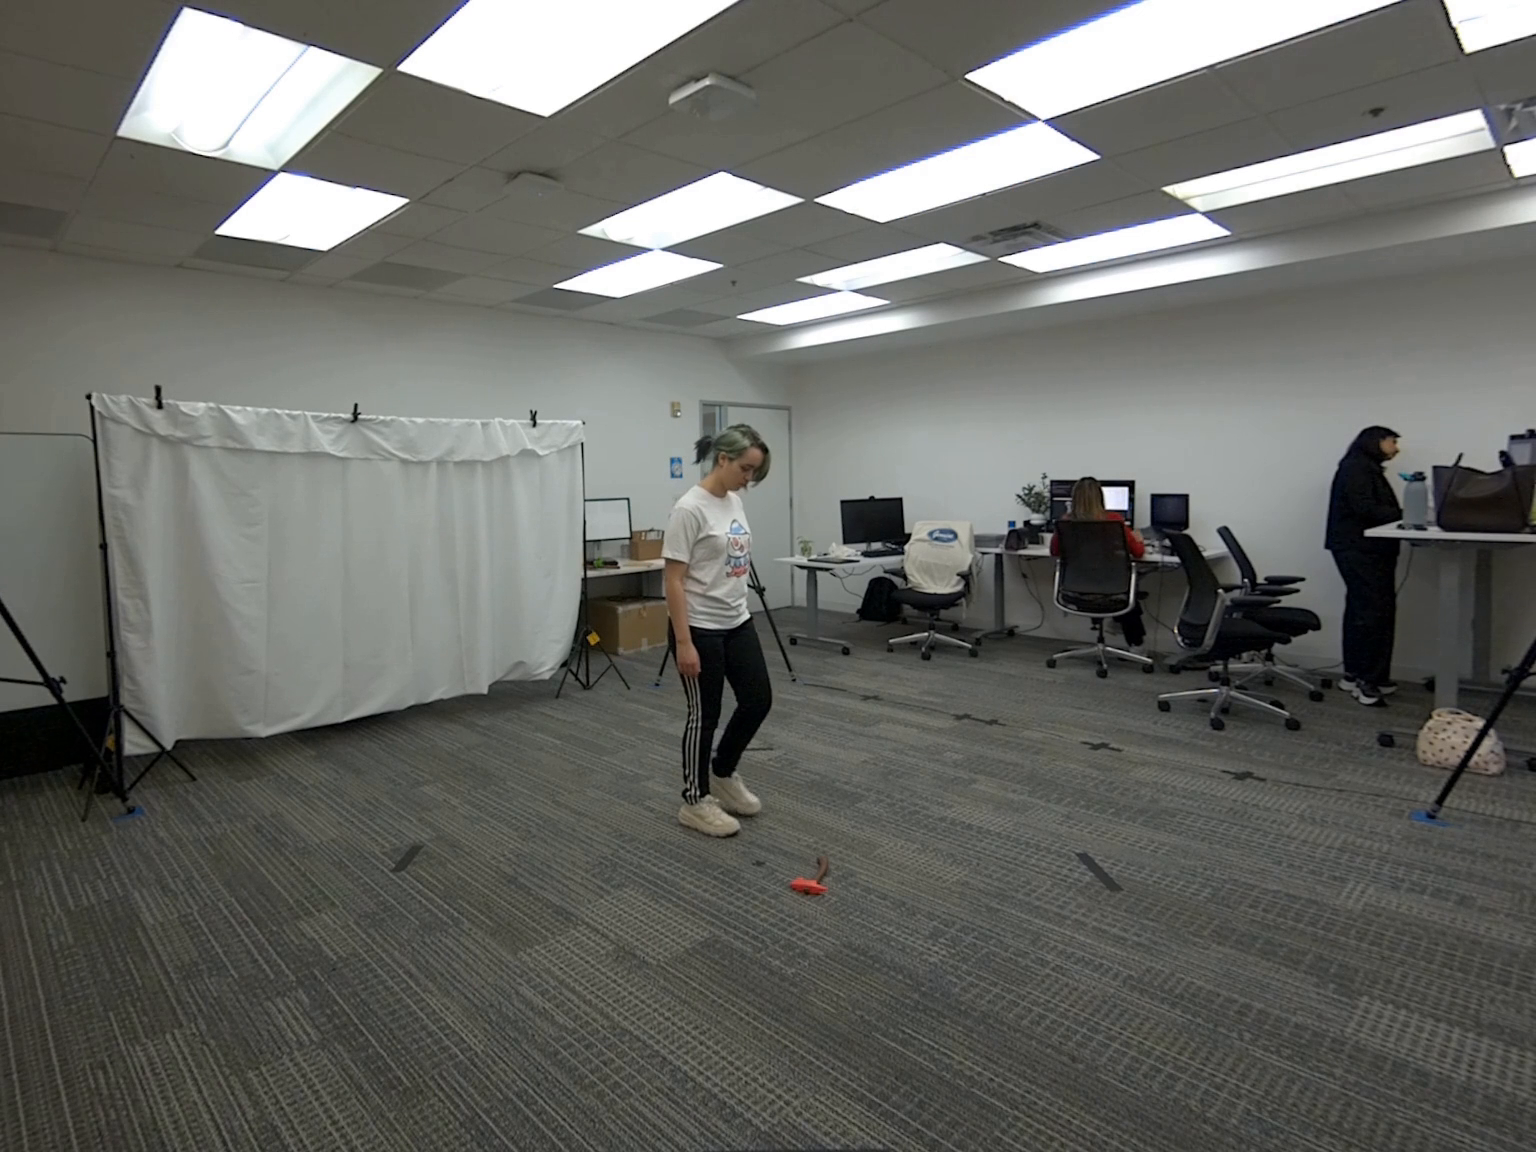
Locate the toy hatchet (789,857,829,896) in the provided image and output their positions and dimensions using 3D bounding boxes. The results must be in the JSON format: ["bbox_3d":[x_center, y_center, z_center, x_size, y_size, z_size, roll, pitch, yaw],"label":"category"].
[{"bbox_3d":[0.146,1.047,2.997,0.132,0.029,0.269,-5,3,5],"label":"toy hatchet"}]
